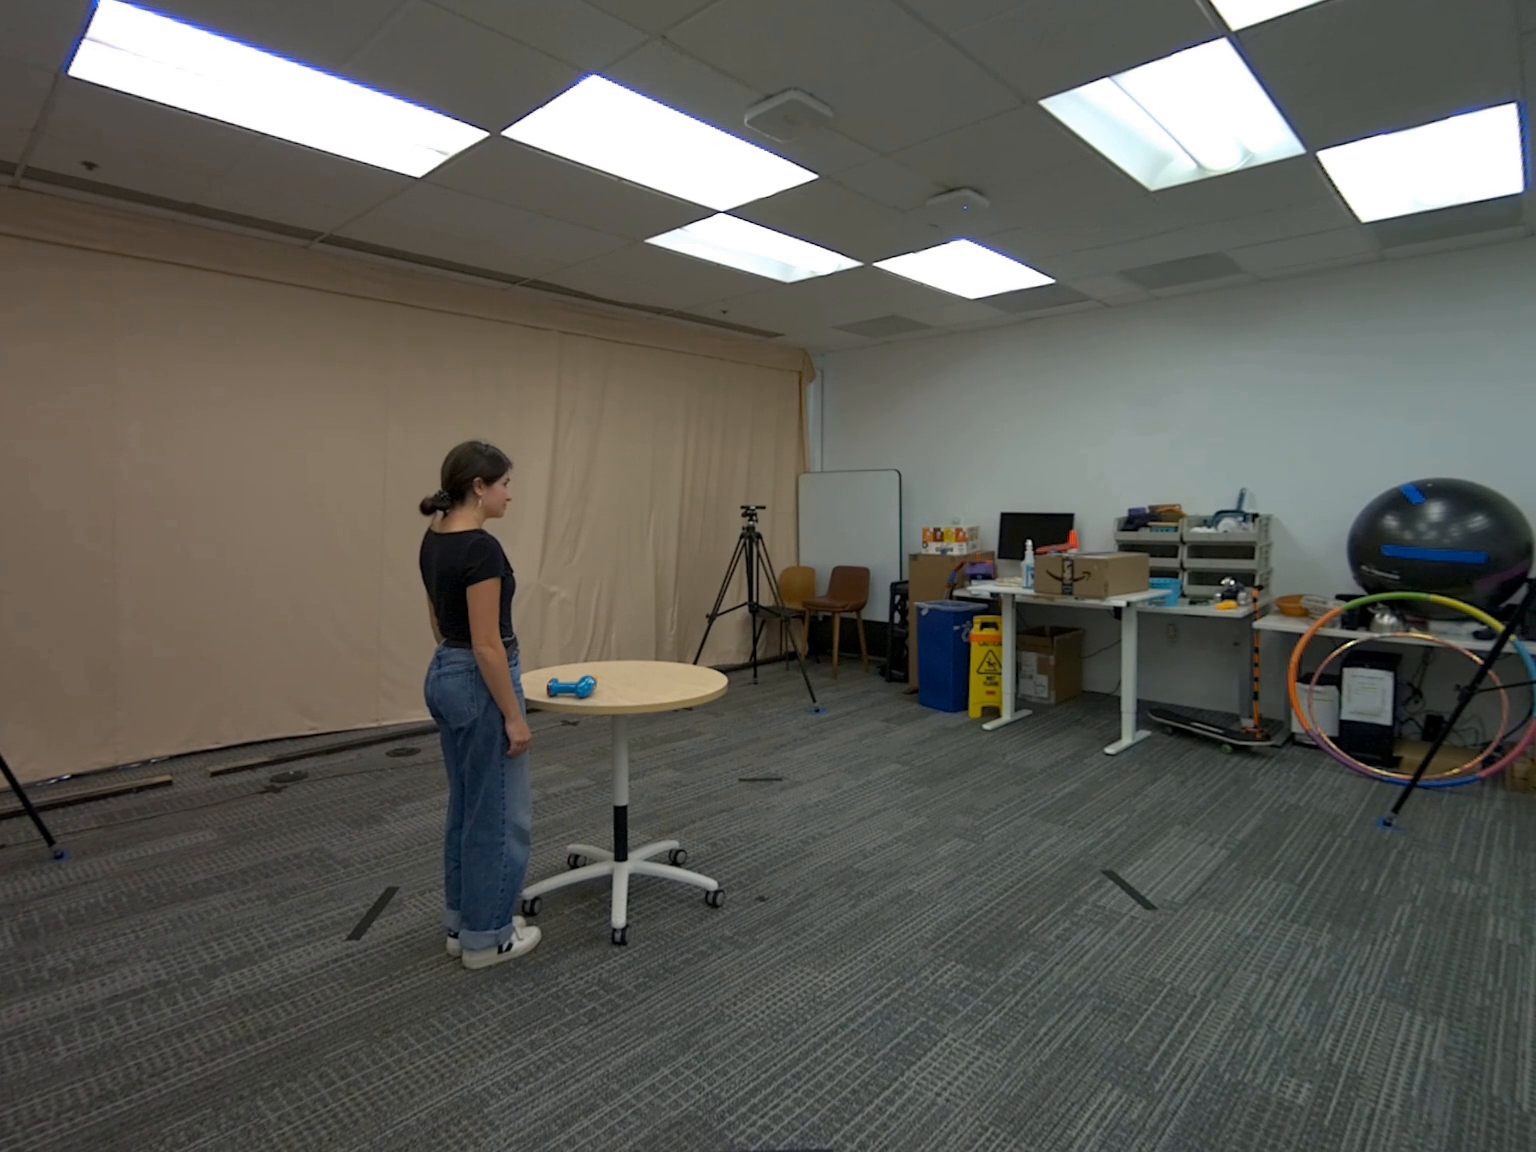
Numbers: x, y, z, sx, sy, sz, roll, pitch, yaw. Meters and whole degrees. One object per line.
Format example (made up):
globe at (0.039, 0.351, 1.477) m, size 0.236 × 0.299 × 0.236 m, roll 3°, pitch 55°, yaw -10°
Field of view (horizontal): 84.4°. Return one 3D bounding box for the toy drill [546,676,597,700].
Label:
toy drill at (-0.619, 0.357, 2.723) m, size 0.148 × 0.061 × 0.169 m, roll -1°, pitch 12°, yaw 10°
